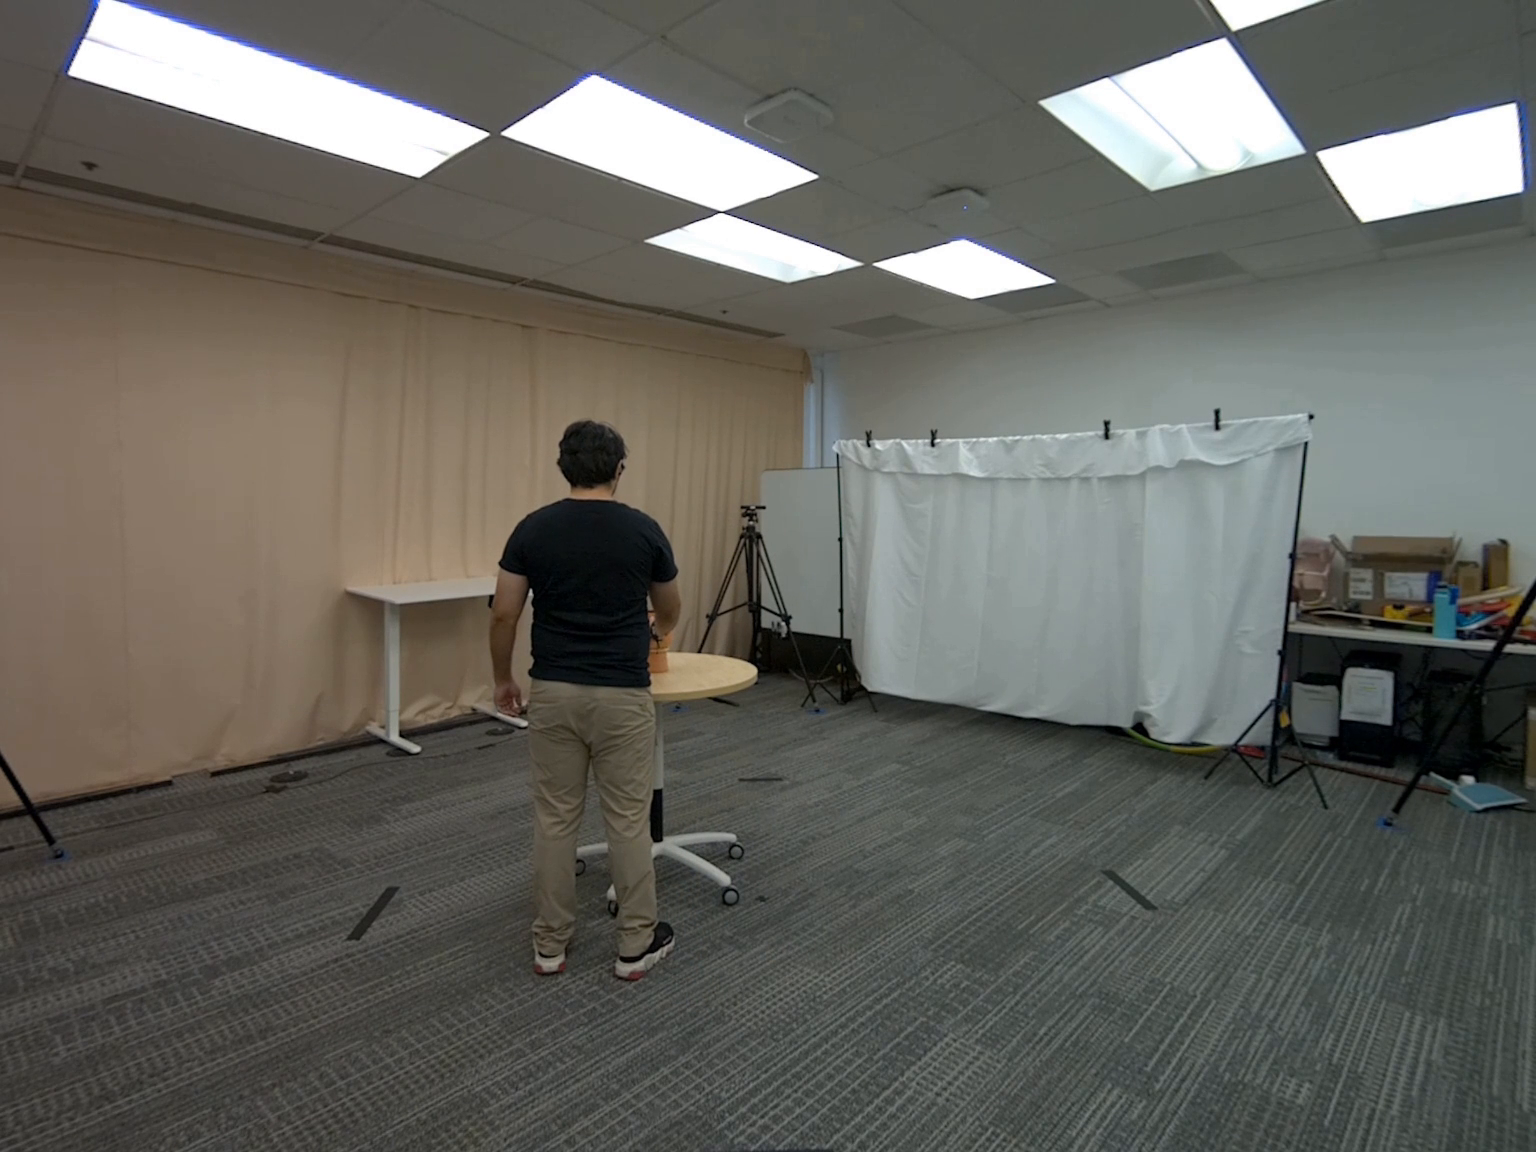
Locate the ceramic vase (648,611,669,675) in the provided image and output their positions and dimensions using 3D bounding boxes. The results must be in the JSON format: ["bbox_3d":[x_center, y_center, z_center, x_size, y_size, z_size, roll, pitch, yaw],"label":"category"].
[{"bbox_3d":[-0.415,0.241,3.115,0.139,0.219,0.154,3,5,35],"label":"ceramic vase"}]
